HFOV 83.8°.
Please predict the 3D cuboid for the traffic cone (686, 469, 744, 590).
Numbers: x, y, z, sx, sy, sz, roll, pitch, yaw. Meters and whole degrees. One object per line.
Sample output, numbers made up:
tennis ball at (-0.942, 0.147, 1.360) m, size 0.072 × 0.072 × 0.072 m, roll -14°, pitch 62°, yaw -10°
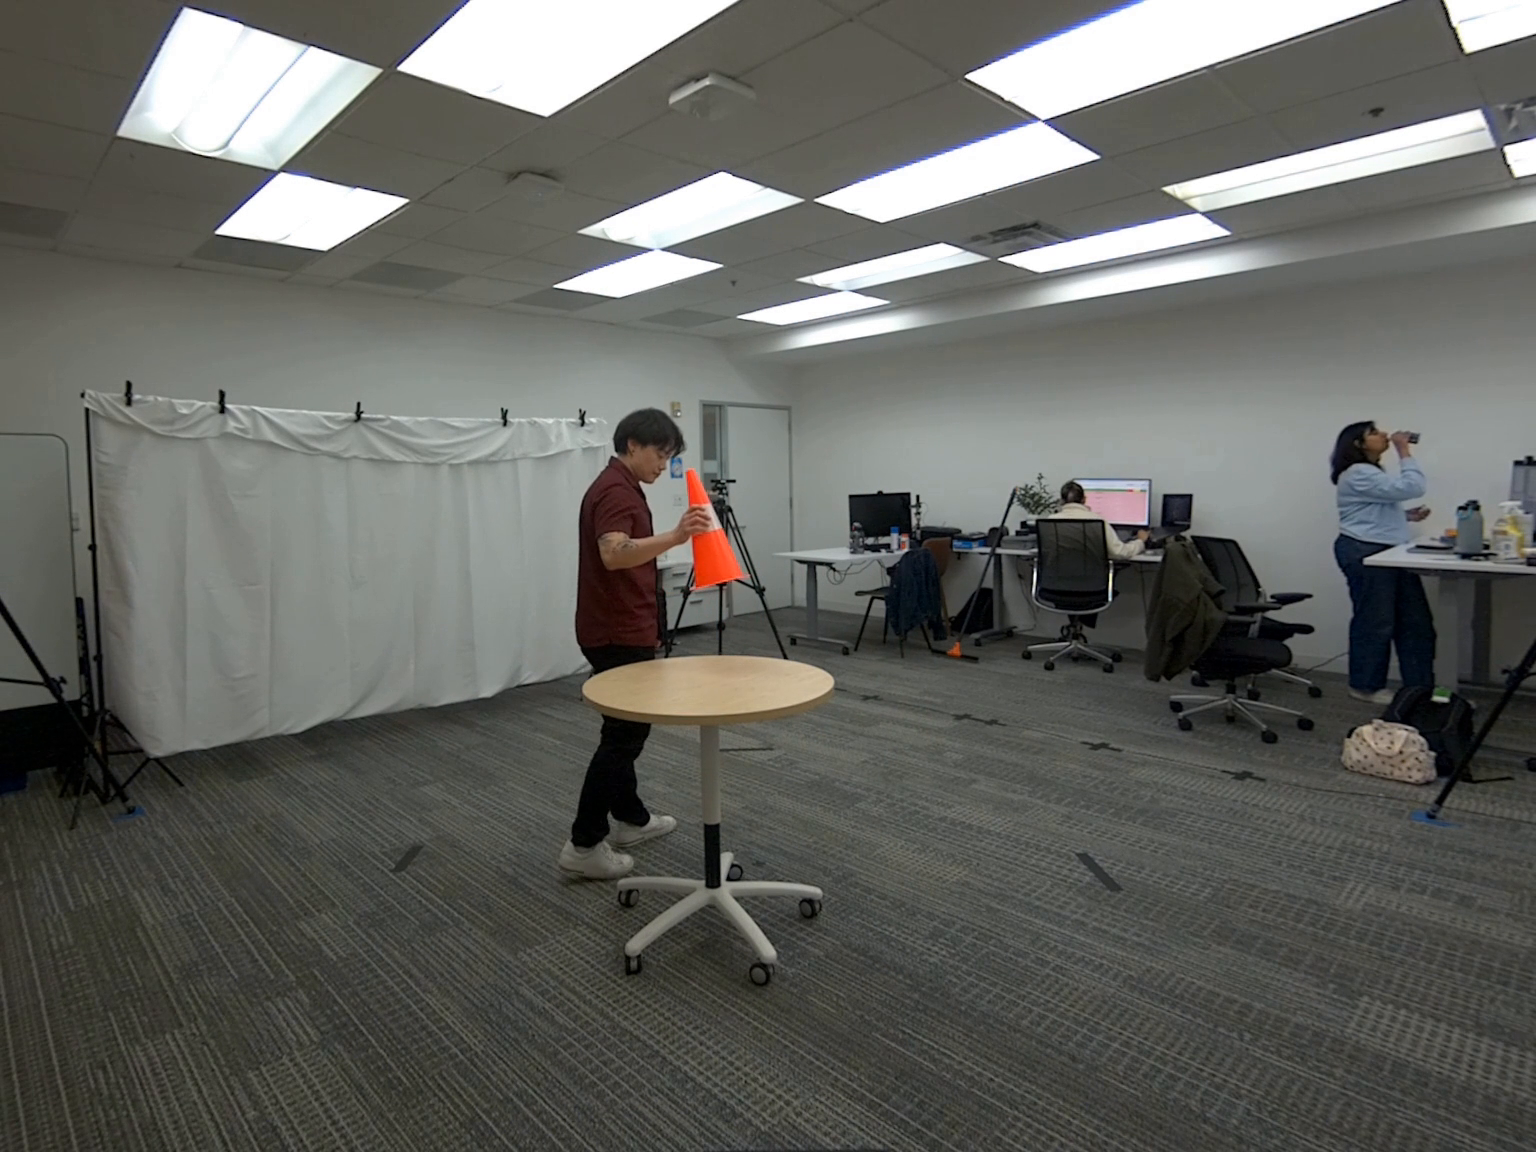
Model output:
traffic cone at (-0.204, -0.156, 2.779) m, size 0.202 × 0.385 × 0.206 m, roll -14°, pitch -4°, yaw -24°
